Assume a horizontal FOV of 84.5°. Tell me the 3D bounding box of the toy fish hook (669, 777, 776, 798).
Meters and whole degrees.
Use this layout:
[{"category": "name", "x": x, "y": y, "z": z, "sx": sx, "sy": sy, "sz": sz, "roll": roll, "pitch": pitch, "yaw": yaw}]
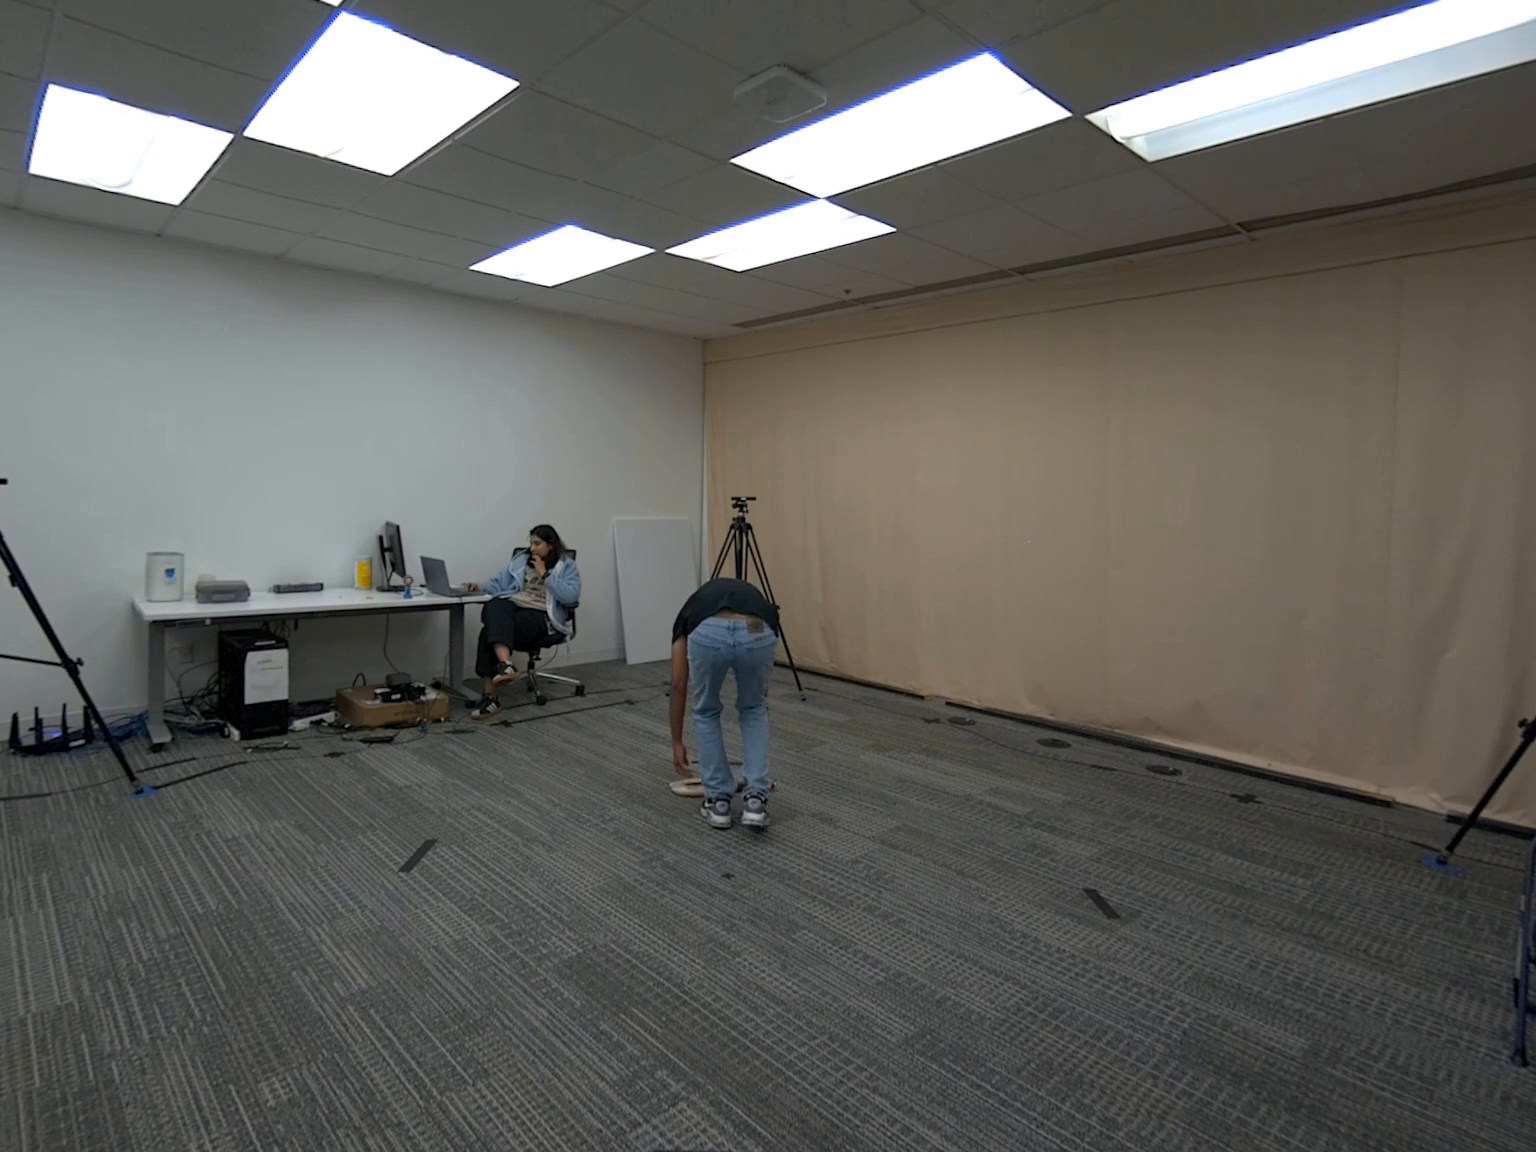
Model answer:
[{"category": "toy fish hook", "x": -0.225, "y": 1.001, "z": 4.054, "sx": 0.501, "sy": 0.048, "sz": 0.228, "roll": 1, "pitch": 6, "yaw": -14}]
